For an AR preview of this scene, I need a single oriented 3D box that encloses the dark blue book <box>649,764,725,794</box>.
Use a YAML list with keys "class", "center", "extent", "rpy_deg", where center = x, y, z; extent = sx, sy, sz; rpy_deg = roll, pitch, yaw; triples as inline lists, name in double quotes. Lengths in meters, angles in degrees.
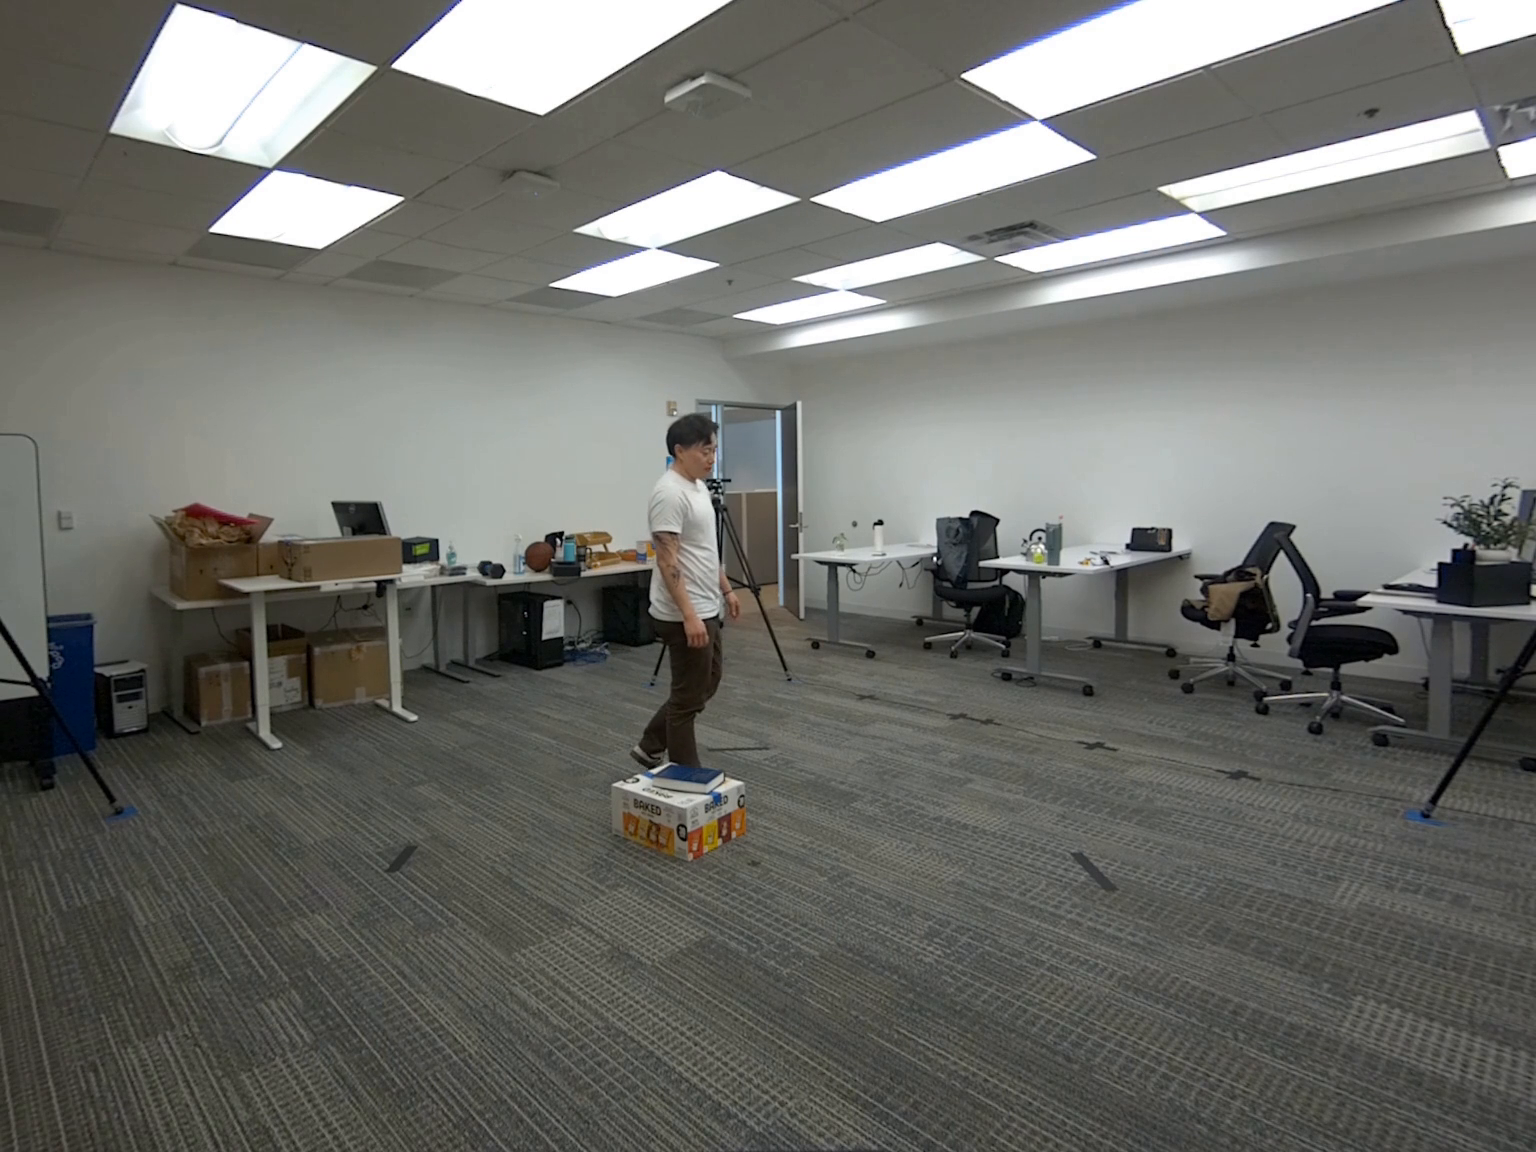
- class: "dark blue book"
  center: [-0.322, 0.805, 3.387]
  extent: [0.251, 0.045, 0.160]
  rpy_deg: [1, 7, 25]
